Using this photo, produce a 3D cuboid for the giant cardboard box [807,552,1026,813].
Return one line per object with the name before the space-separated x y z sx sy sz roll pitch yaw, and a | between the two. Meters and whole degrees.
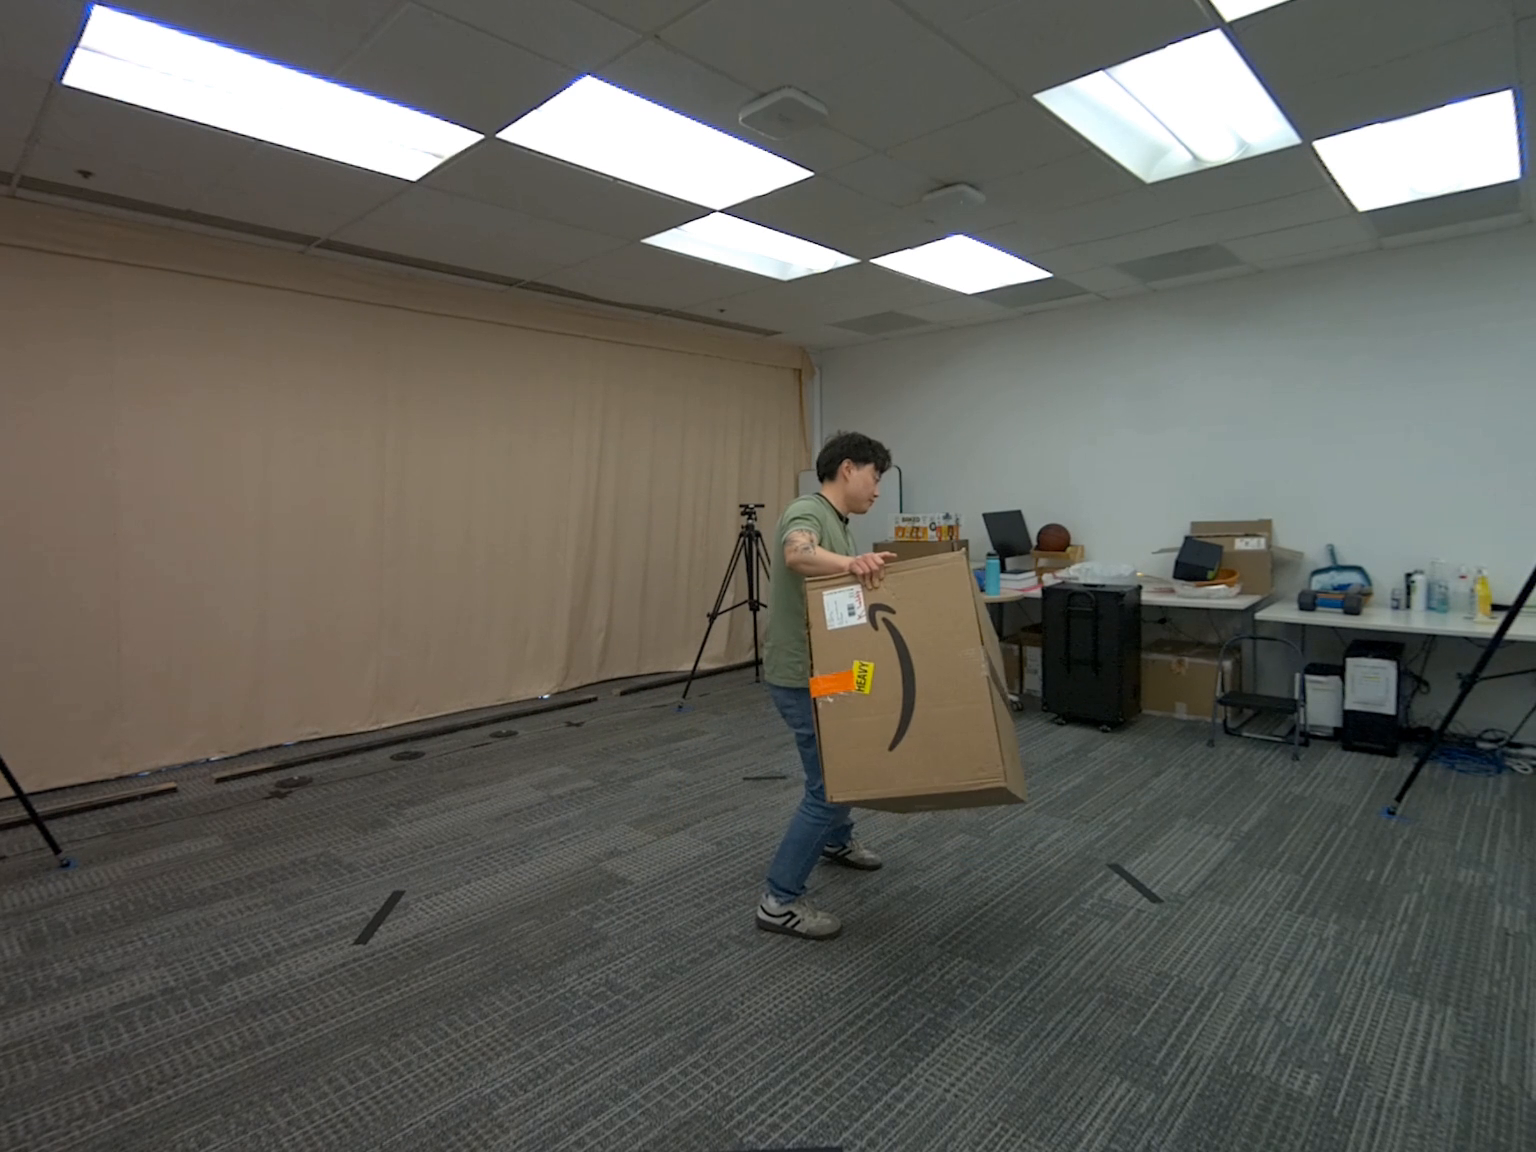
giant cardboard box | 0.484 0.383 2.513 0.433 0.585 0.996 -11 -20 16
